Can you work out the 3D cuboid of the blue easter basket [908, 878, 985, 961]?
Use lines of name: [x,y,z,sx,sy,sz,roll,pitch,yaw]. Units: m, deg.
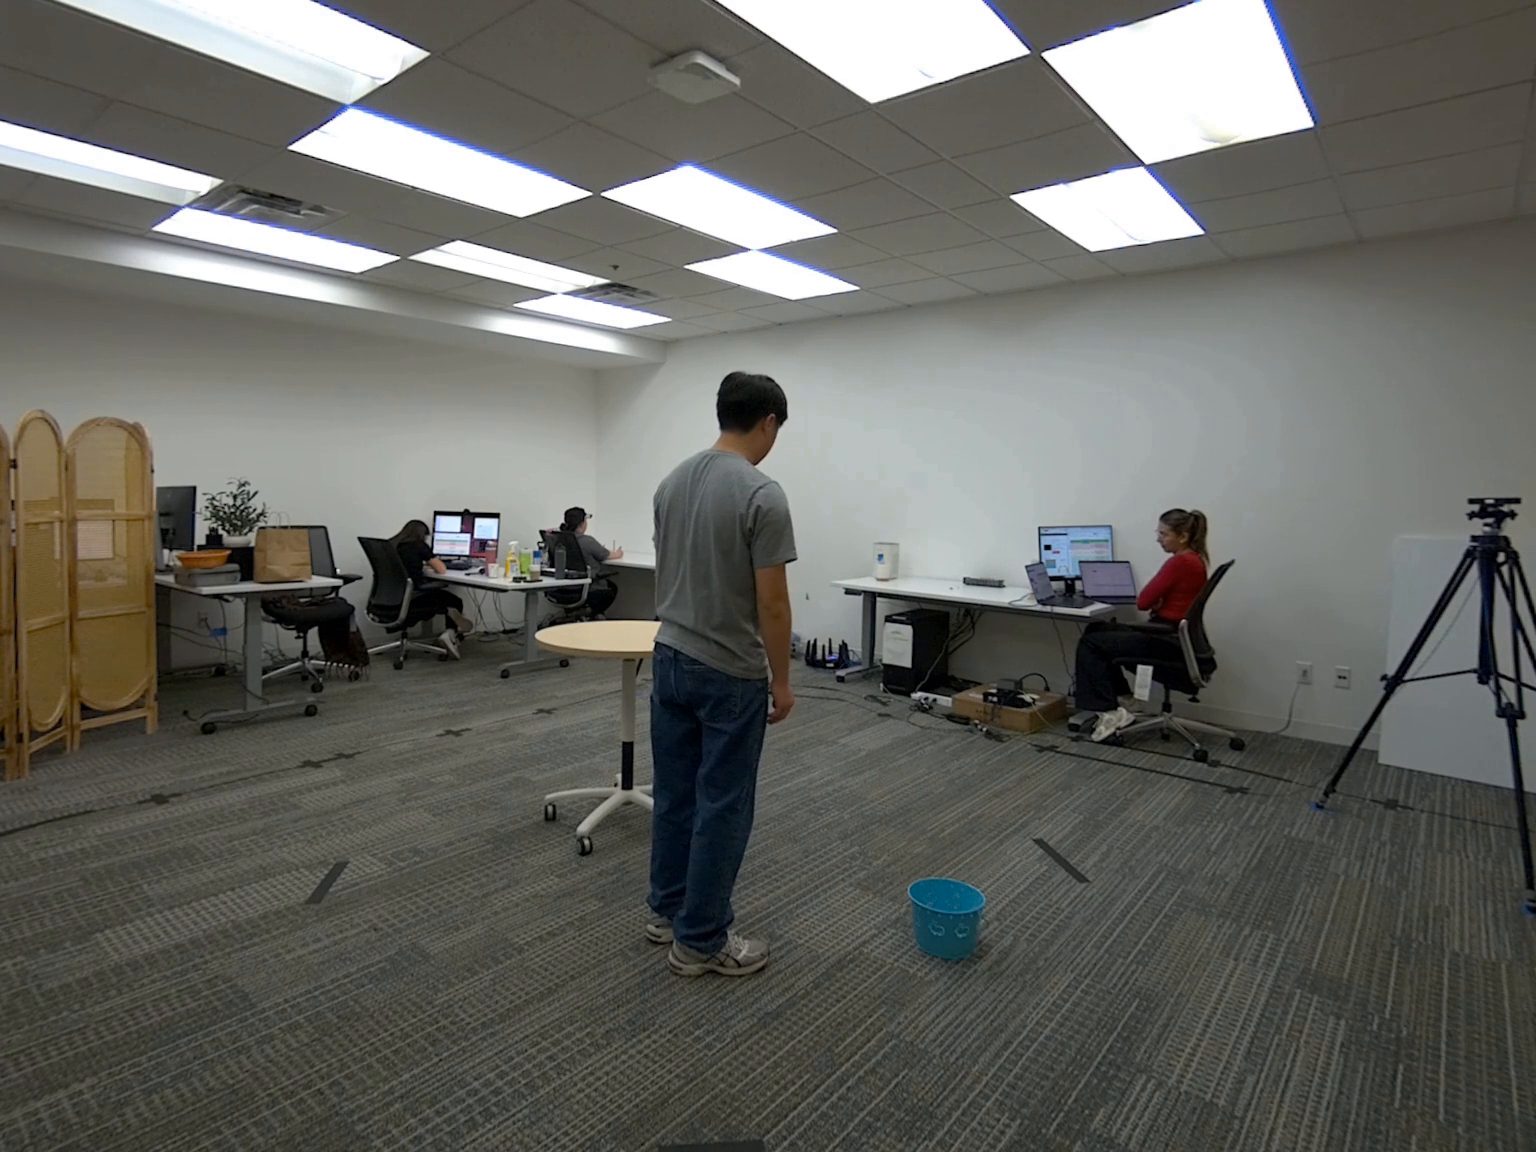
blue easter basket: [0.548,1.059,2.622,0.243,0.155,0.245,0,6,-2]
